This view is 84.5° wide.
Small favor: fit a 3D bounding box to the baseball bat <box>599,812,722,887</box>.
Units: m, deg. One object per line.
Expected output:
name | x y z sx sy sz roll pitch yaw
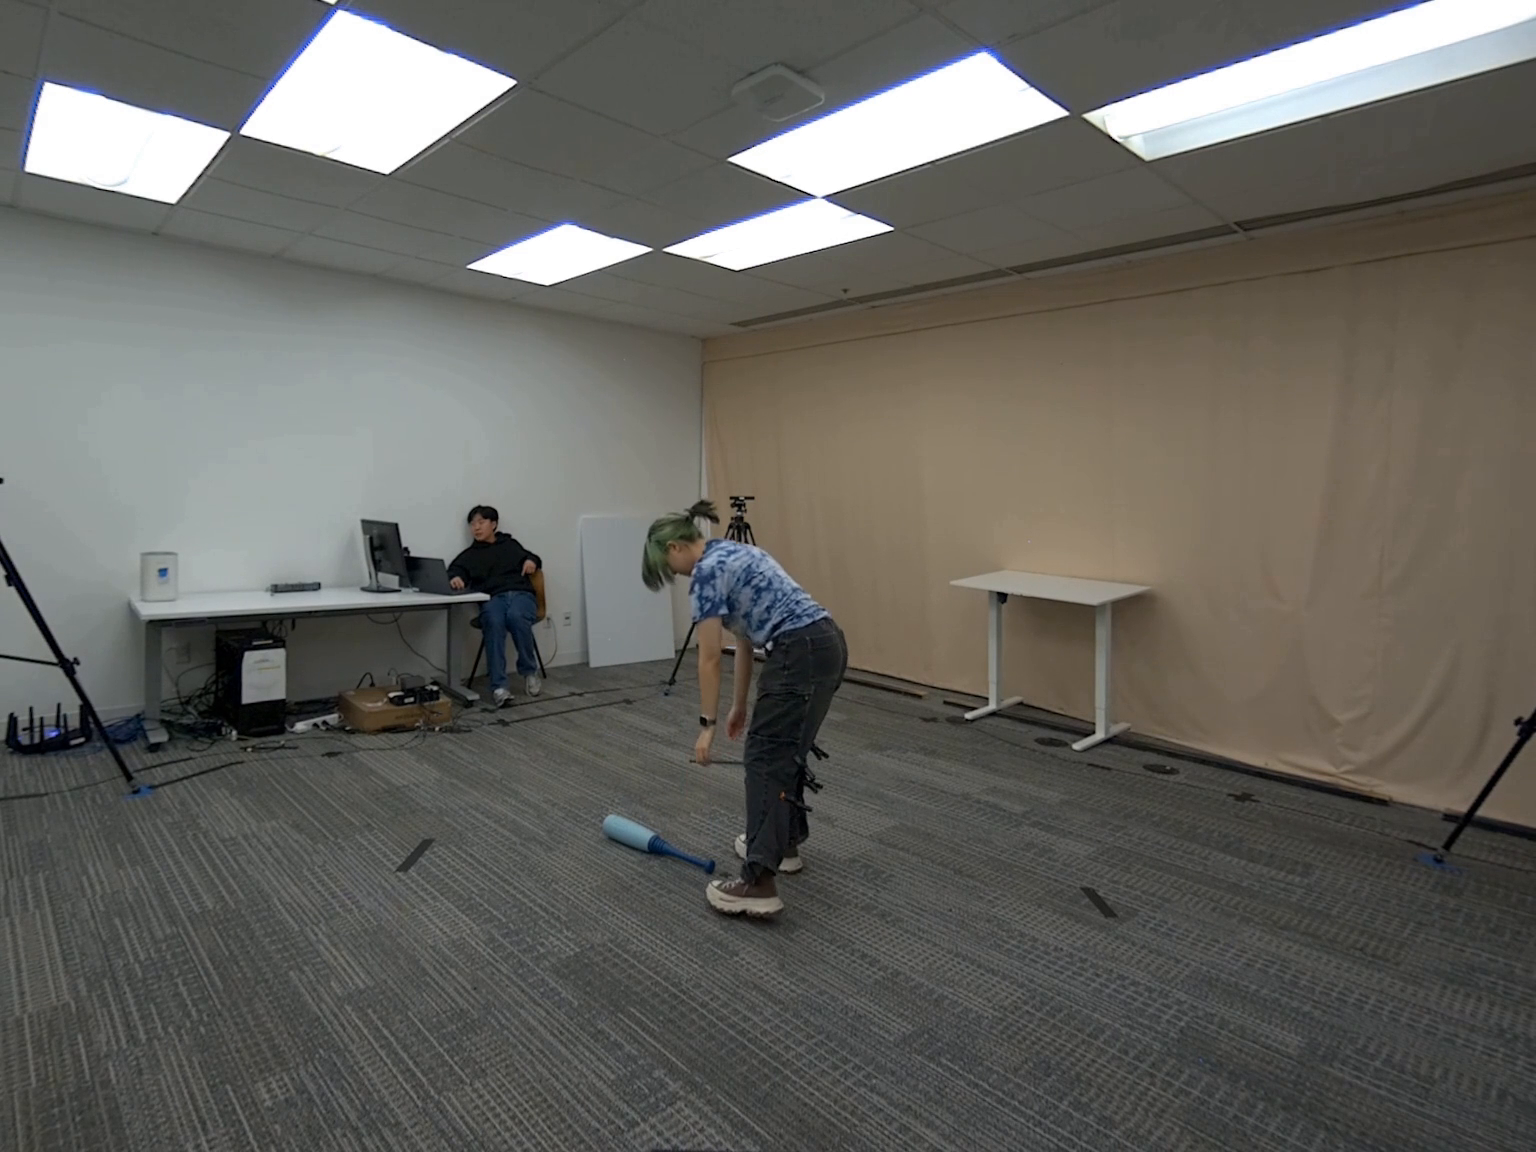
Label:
baseball bat | -0.428 1.046 3.265 0.557 0.089 0.087 8 7 35
